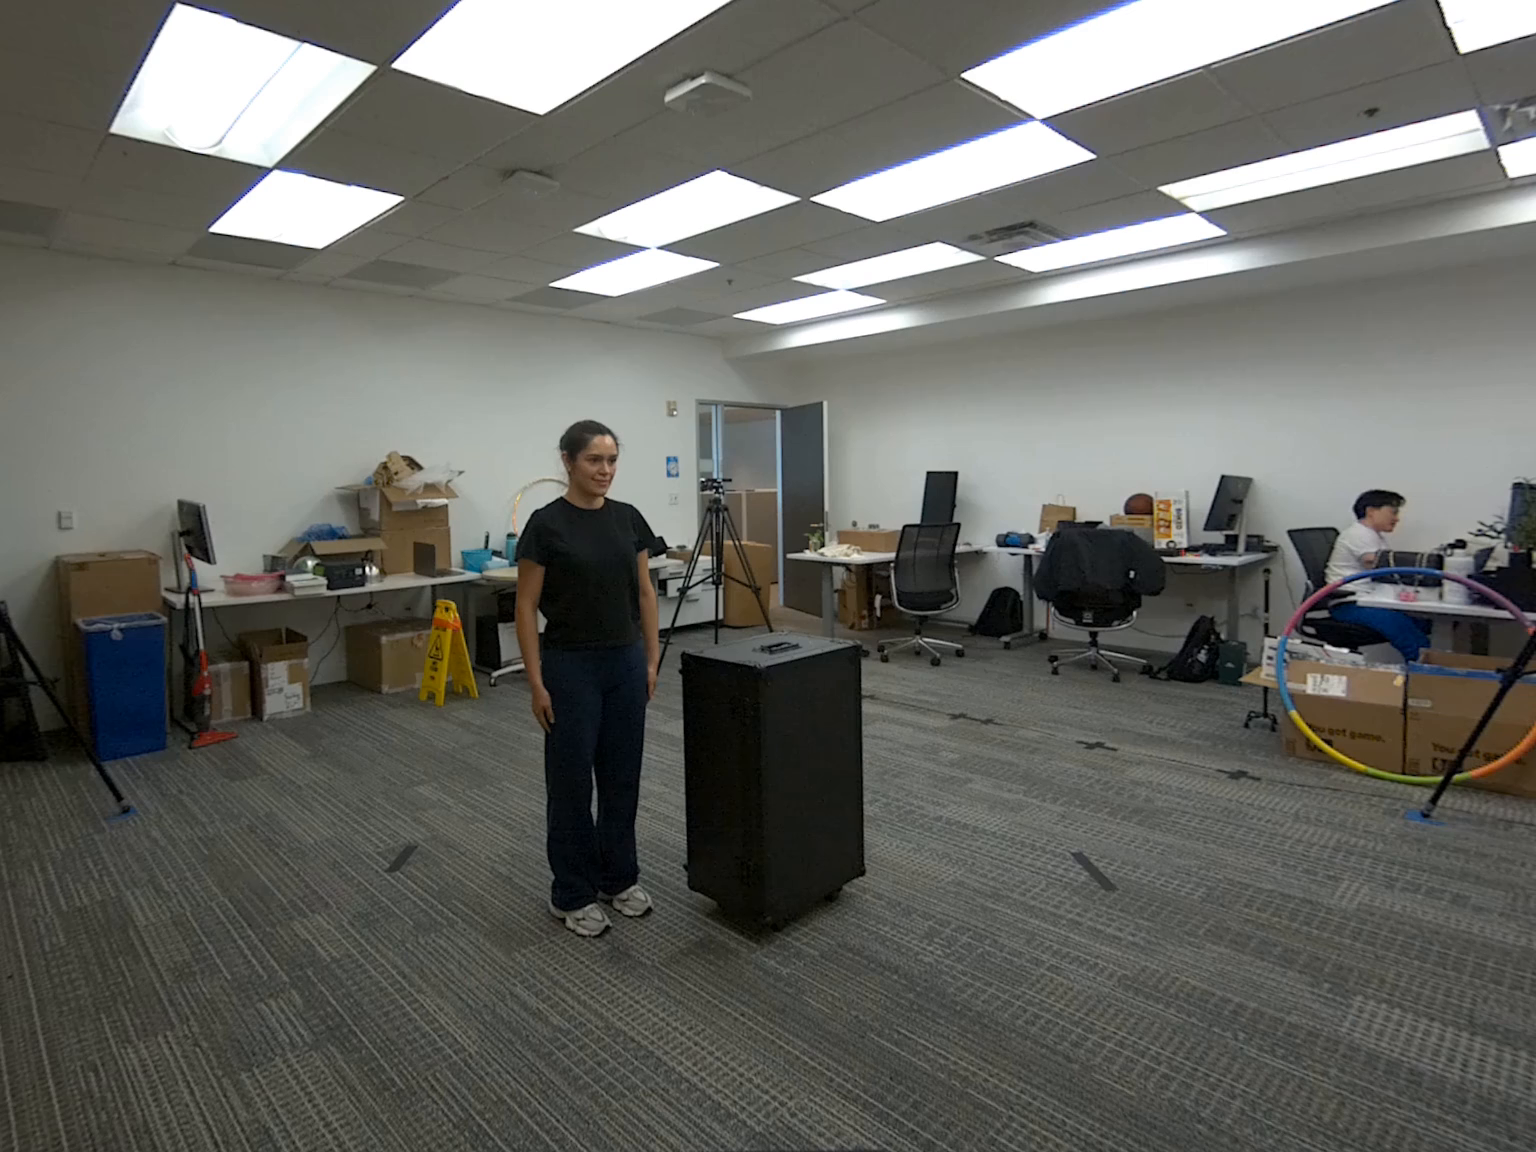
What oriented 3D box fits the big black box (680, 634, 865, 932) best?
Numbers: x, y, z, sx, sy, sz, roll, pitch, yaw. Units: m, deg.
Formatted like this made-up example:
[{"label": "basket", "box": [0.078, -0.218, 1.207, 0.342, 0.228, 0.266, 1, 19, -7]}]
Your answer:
[{"label": "big black box", "box": [0.020, 0.654, 2.807, 0.408, 0.859, 0.508, 2, 5, 38]}]
